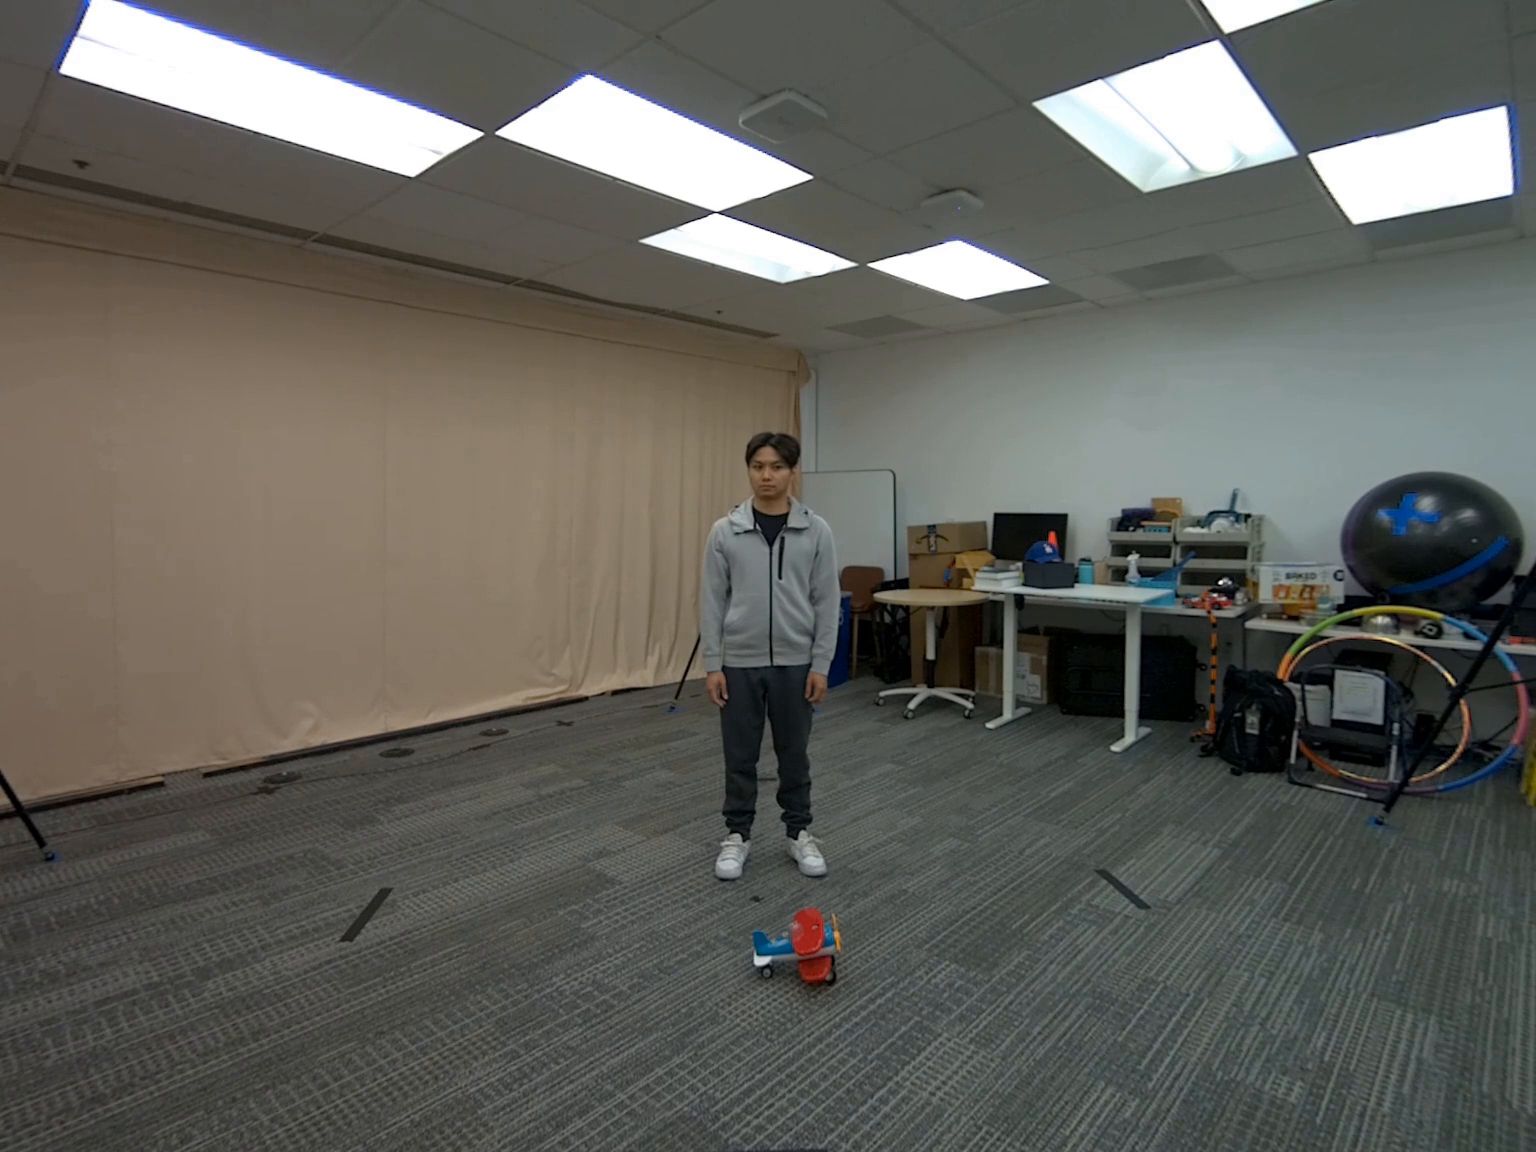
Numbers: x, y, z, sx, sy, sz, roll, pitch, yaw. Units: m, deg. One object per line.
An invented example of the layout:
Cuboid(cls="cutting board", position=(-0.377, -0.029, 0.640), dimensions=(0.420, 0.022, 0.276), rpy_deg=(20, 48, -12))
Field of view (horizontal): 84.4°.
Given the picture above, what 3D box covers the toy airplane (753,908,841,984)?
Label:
Cuboid(cls="toy airplane", position=(0.093, 1.110, 2.481), dimensions=(0.253, 0.156, 0.258), rpy_deg=(-2, 4, -26))
